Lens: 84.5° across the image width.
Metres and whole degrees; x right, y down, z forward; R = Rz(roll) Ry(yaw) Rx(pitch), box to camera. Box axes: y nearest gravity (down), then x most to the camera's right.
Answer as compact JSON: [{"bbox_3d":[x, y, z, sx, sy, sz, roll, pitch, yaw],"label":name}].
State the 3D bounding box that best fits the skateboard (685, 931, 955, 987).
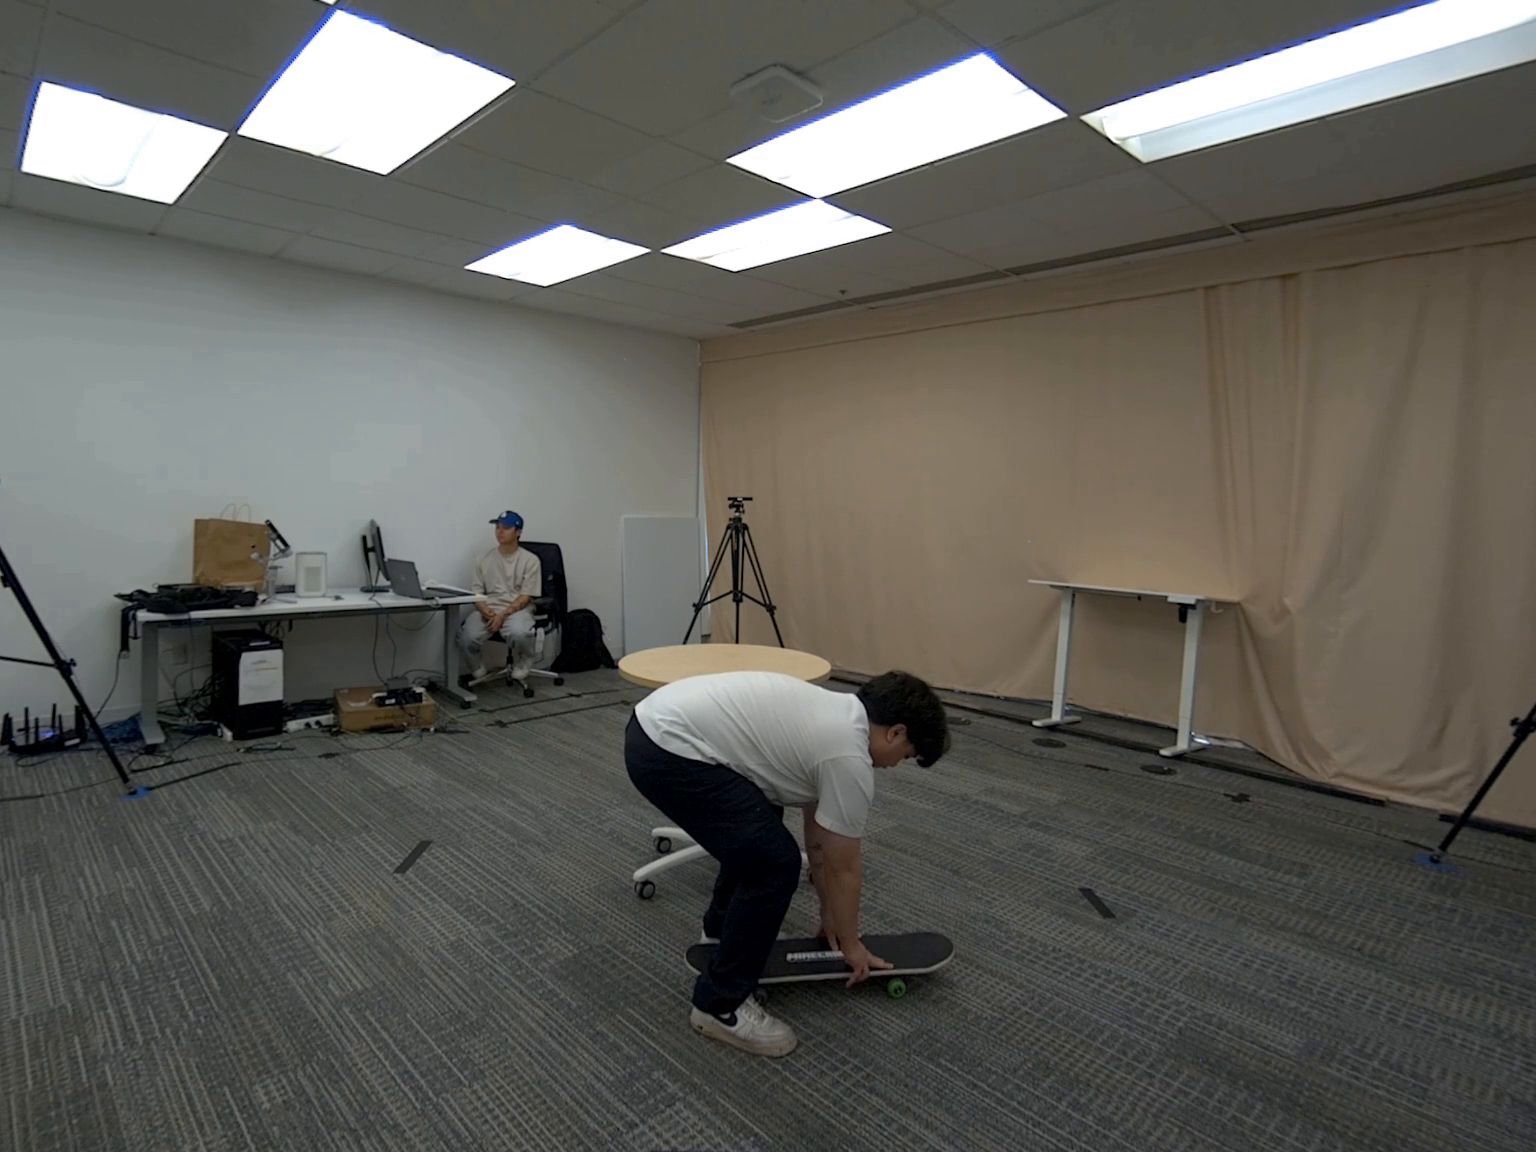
[{"bbox_3d":[0.147,1.123,2.417,0.780,0.110,0.195,1,5,-9],"label":"skateboard"}]
